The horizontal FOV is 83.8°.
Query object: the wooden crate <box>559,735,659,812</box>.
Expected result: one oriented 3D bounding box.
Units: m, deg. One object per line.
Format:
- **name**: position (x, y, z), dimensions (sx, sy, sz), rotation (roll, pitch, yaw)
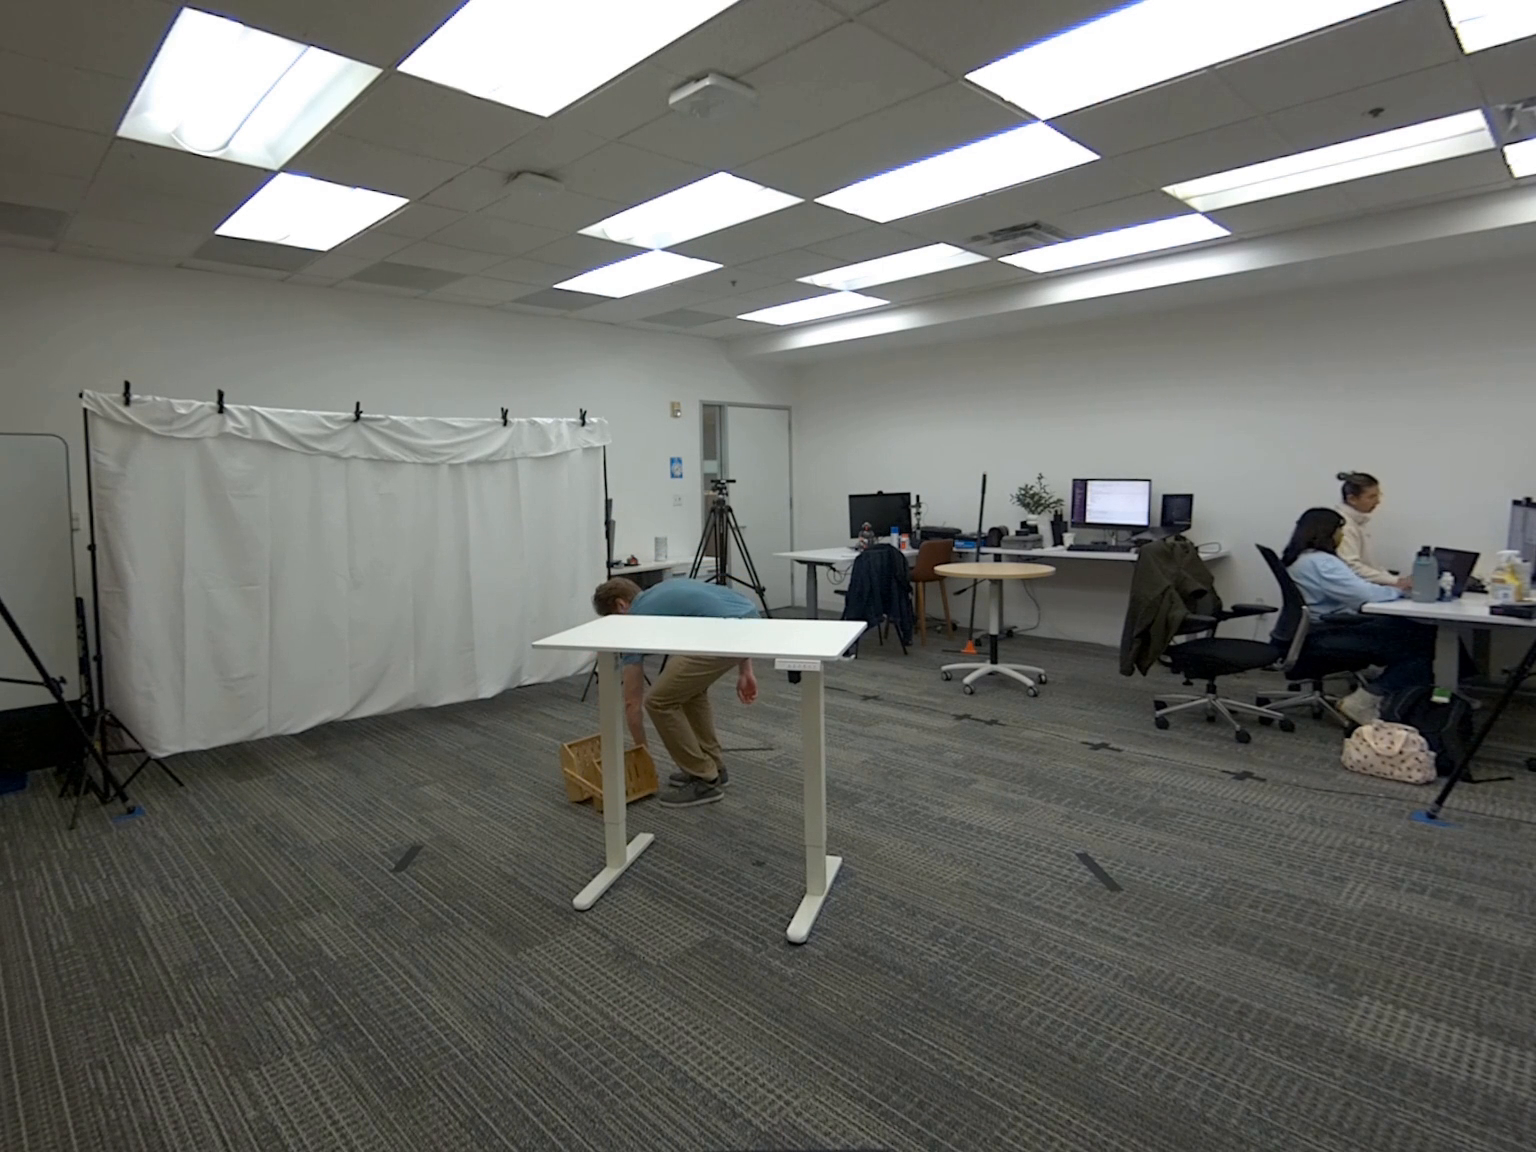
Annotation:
- **wooden crate**: position (-0.703, 0.851, 3.805), dimensions (0.278, 0.304, 0.316), rotation (-18, -8, 37)
